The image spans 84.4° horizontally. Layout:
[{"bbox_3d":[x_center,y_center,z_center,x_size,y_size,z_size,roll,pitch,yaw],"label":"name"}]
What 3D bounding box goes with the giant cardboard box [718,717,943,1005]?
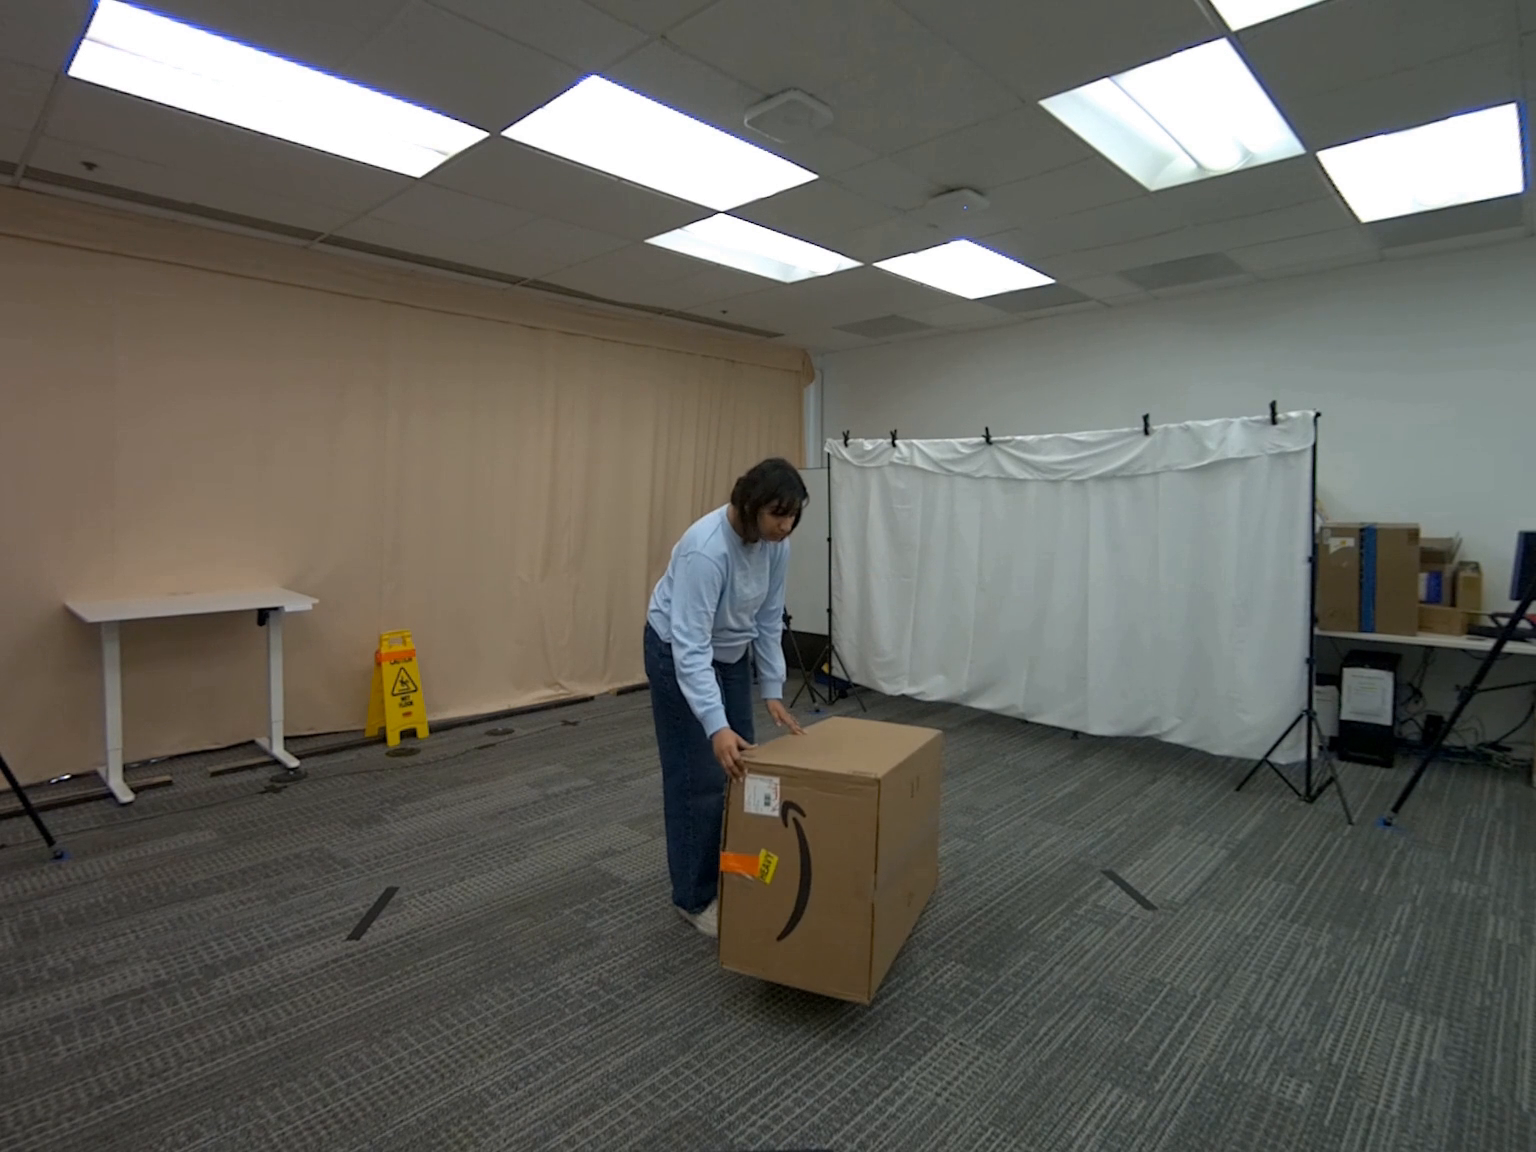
[{"bbox_3d":[0.256,0.820,2.700,0.457,0.585,1.001,3,-2,22],"label":"giant cardboard box"}]
